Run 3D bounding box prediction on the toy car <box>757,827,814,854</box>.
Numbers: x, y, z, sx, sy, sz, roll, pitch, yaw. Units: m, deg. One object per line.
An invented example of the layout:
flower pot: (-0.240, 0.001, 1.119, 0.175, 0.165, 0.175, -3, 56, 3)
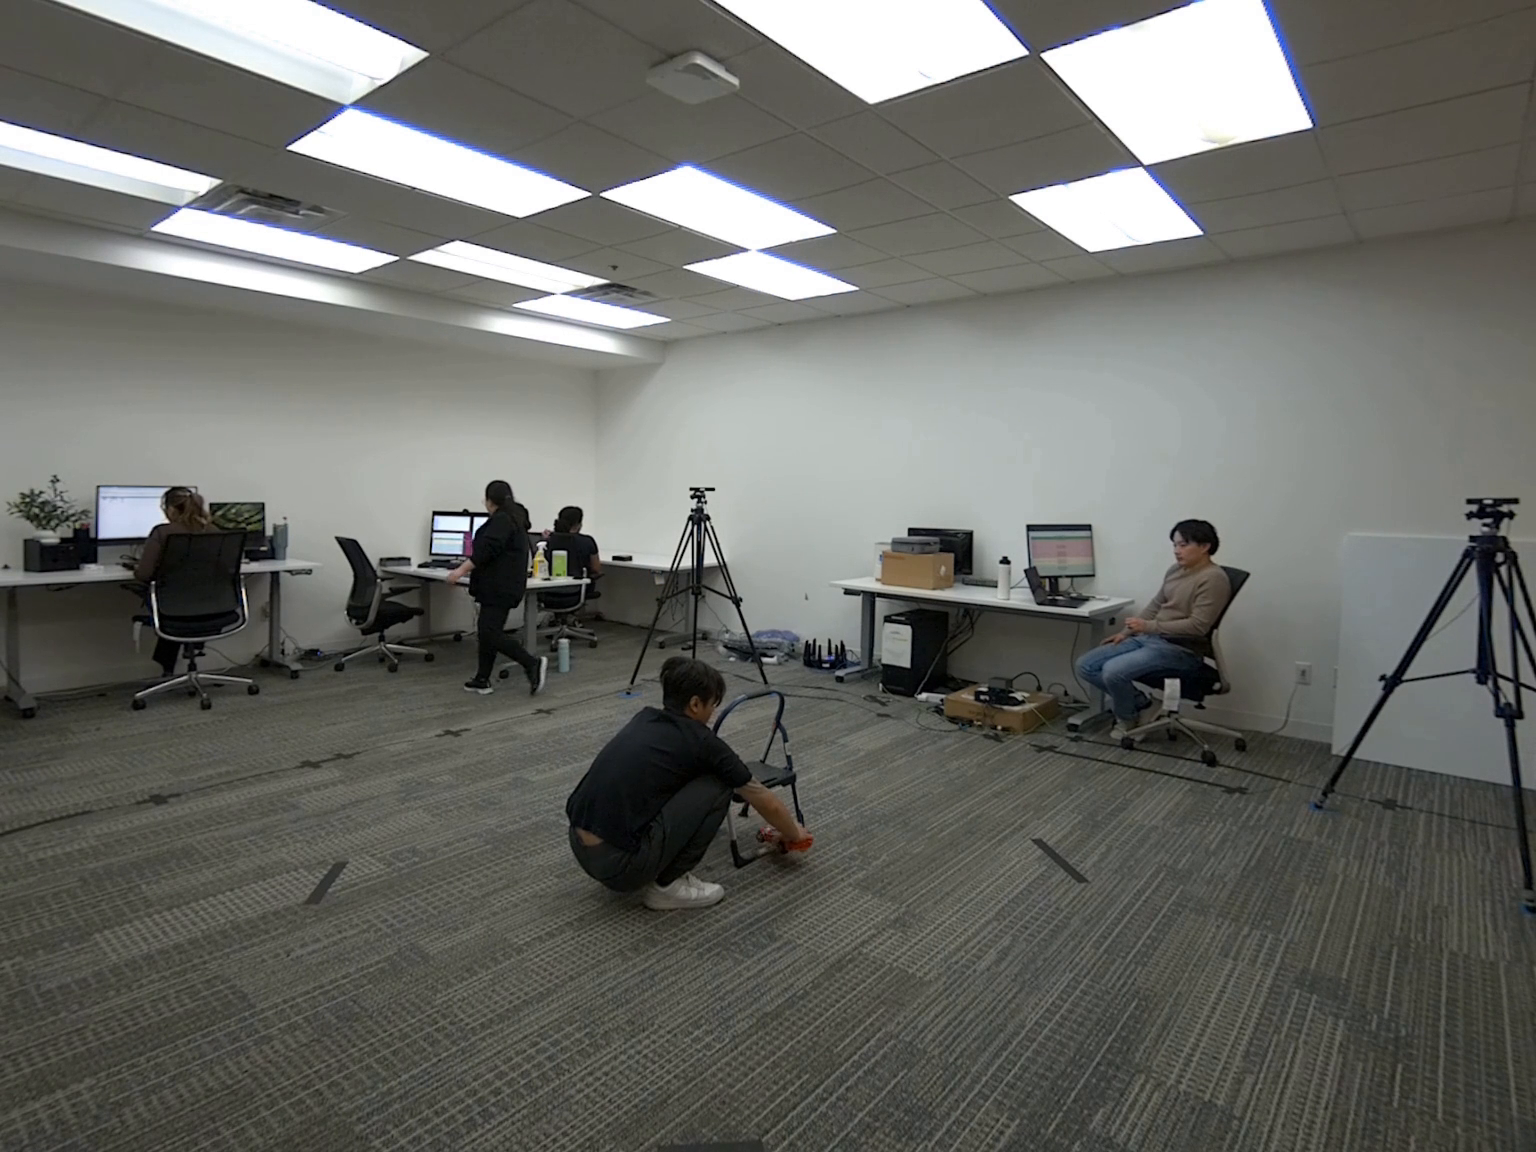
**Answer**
toy car: (0.049, 1.001, 3.192, 0.126, 0.084, 0.260, 2, -9, -32)
